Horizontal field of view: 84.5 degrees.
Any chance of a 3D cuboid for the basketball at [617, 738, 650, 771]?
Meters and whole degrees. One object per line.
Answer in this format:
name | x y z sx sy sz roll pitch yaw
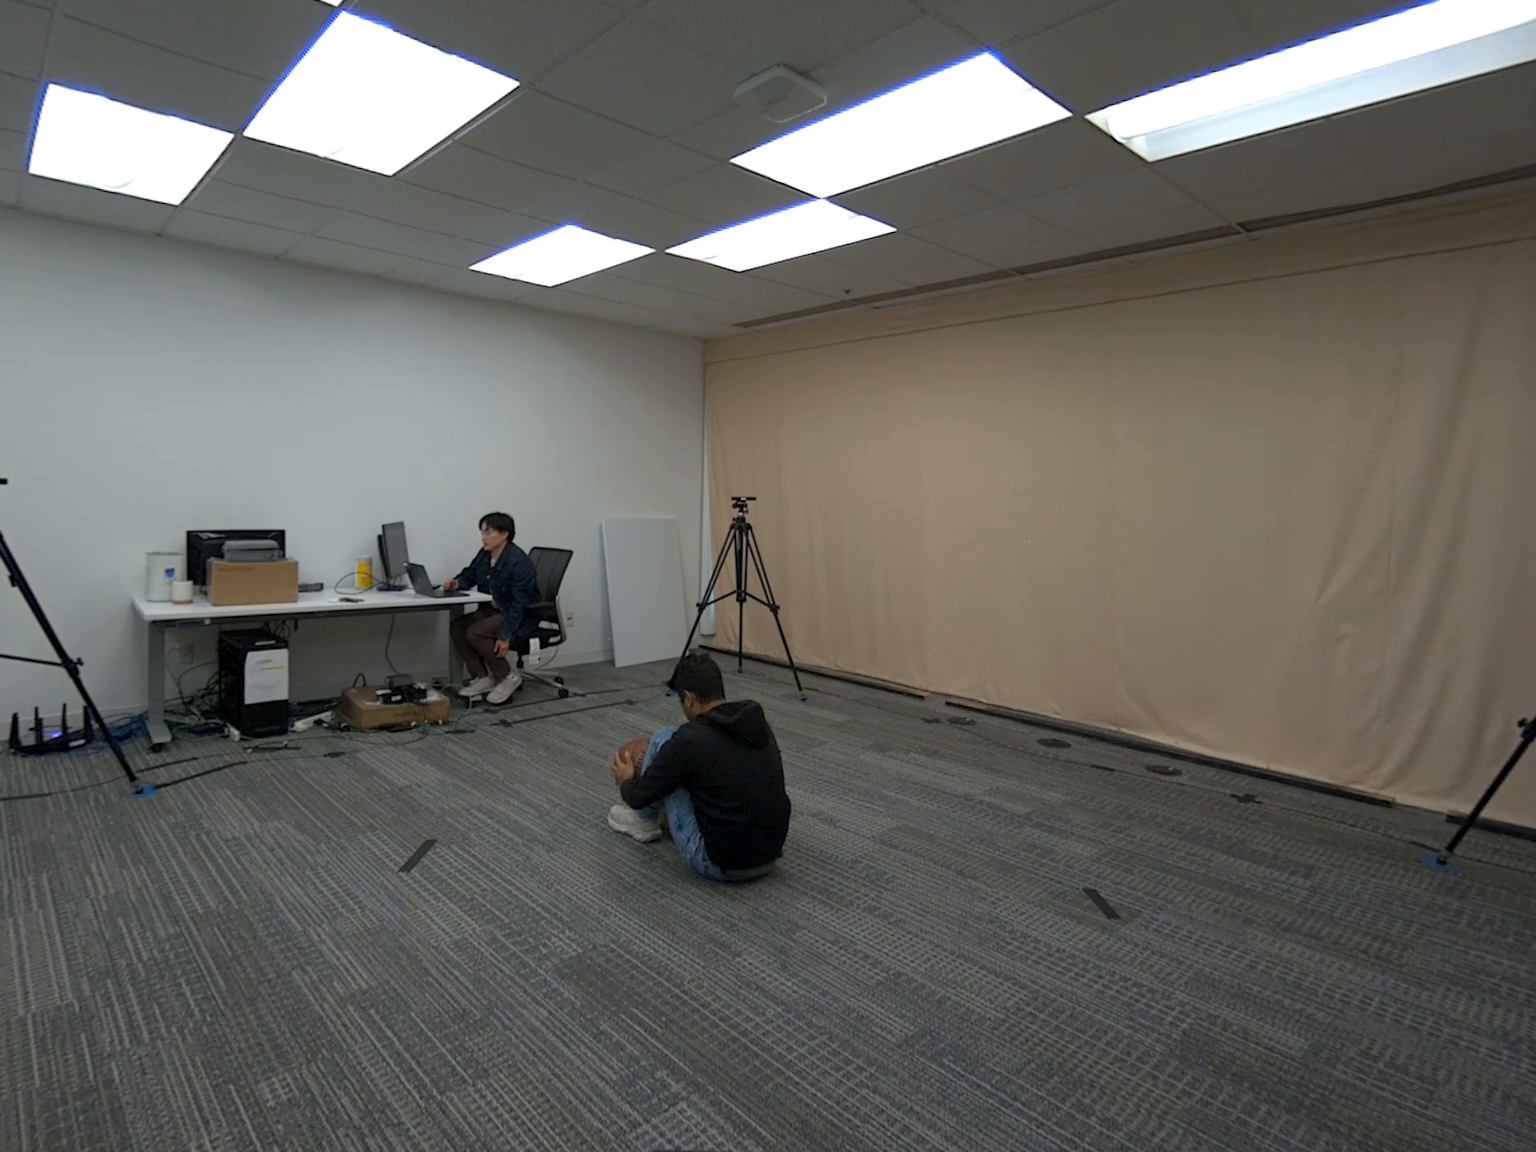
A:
basketball | -0.534 0.806 3.584 0.236 0.235 0.237 1 4 -1
